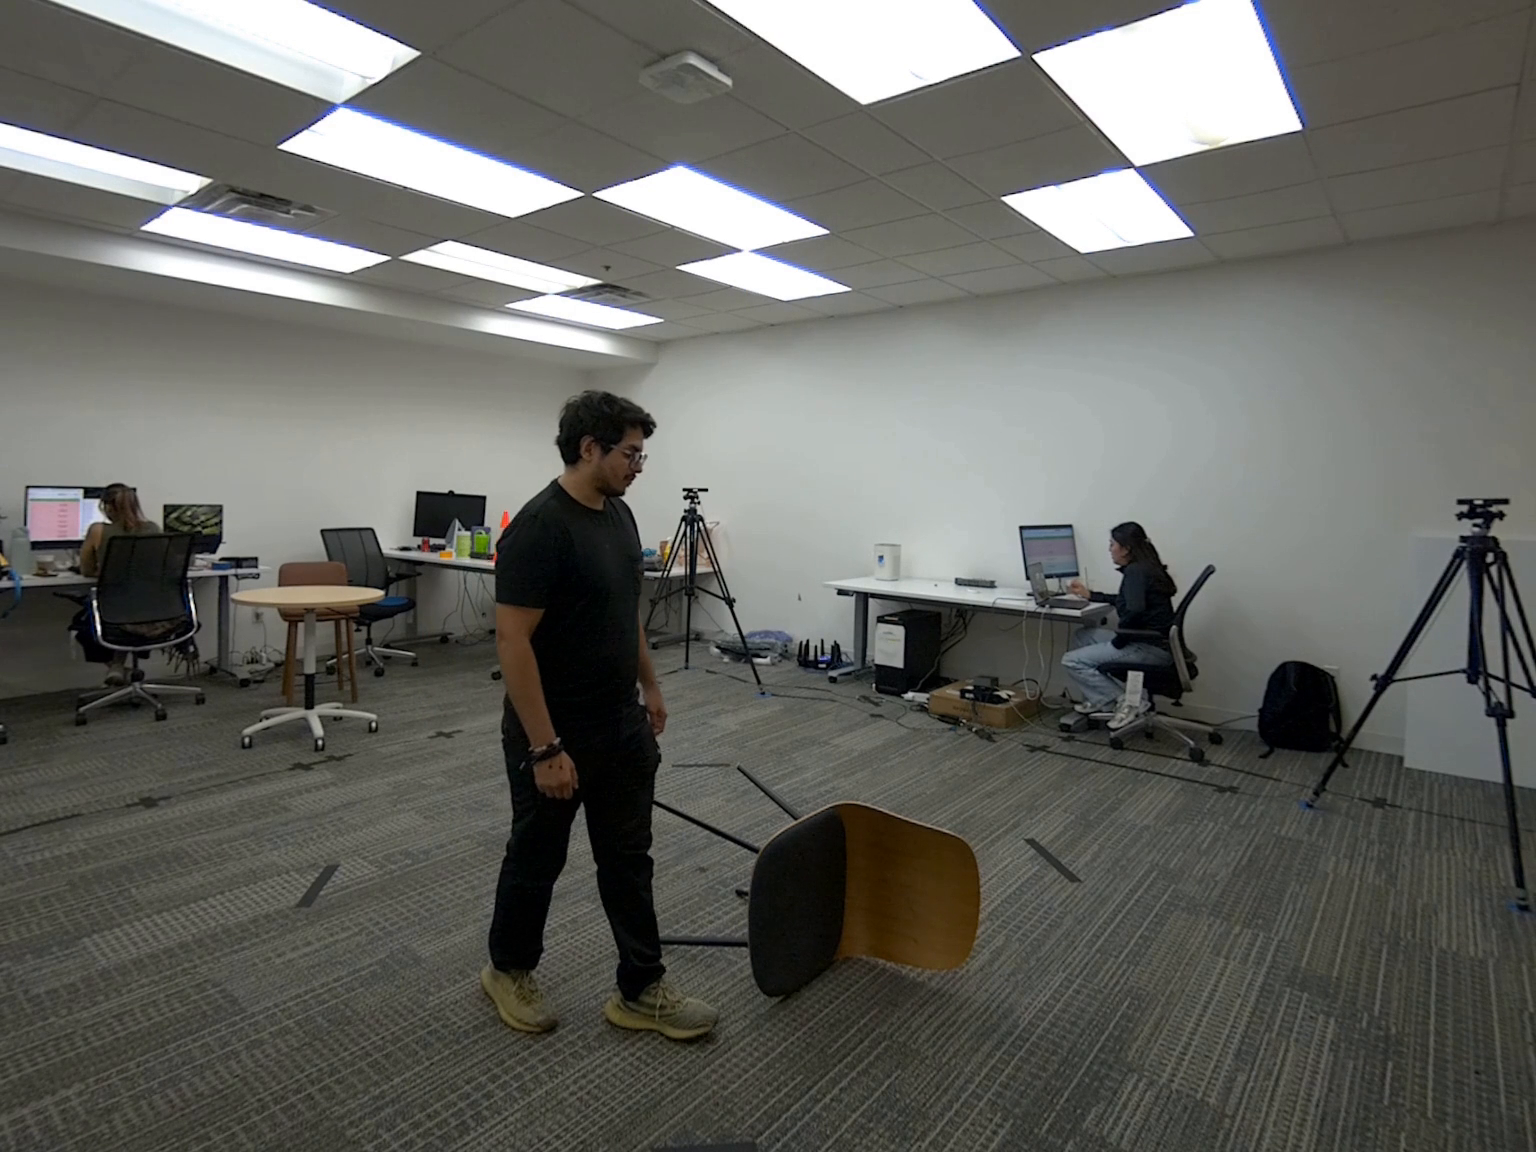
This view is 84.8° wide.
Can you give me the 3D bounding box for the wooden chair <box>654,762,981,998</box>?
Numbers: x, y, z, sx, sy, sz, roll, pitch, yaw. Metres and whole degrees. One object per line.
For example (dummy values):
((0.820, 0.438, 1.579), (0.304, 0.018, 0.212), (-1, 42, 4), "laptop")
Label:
((0.098, 0.910, 2.468), (0.906, 0.477, 0.508), (5, 5, 35), "wooden chair")
